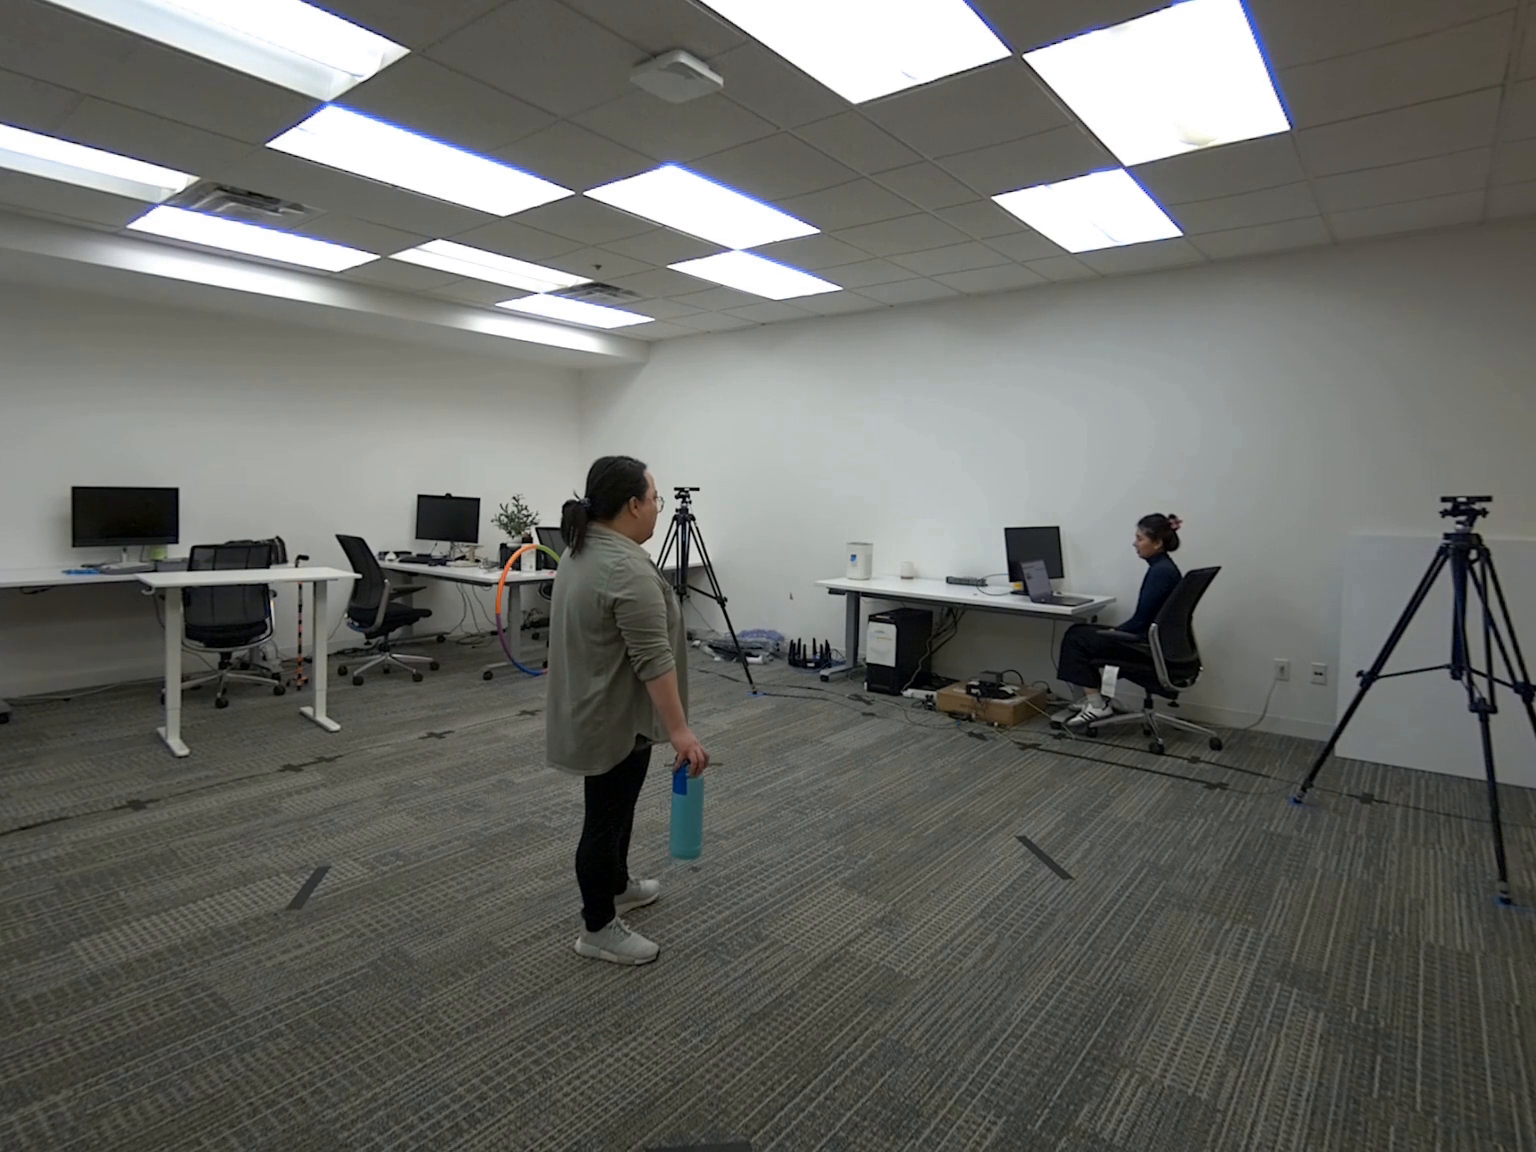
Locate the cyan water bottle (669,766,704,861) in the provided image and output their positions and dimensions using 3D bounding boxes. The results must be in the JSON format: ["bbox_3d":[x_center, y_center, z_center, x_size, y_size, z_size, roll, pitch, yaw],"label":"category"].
[{"bbox_3d":[-0.229,0.616,2.323,0.092,0.283,0.092,3,1,-2],"label":"cyan water bottle"}]
